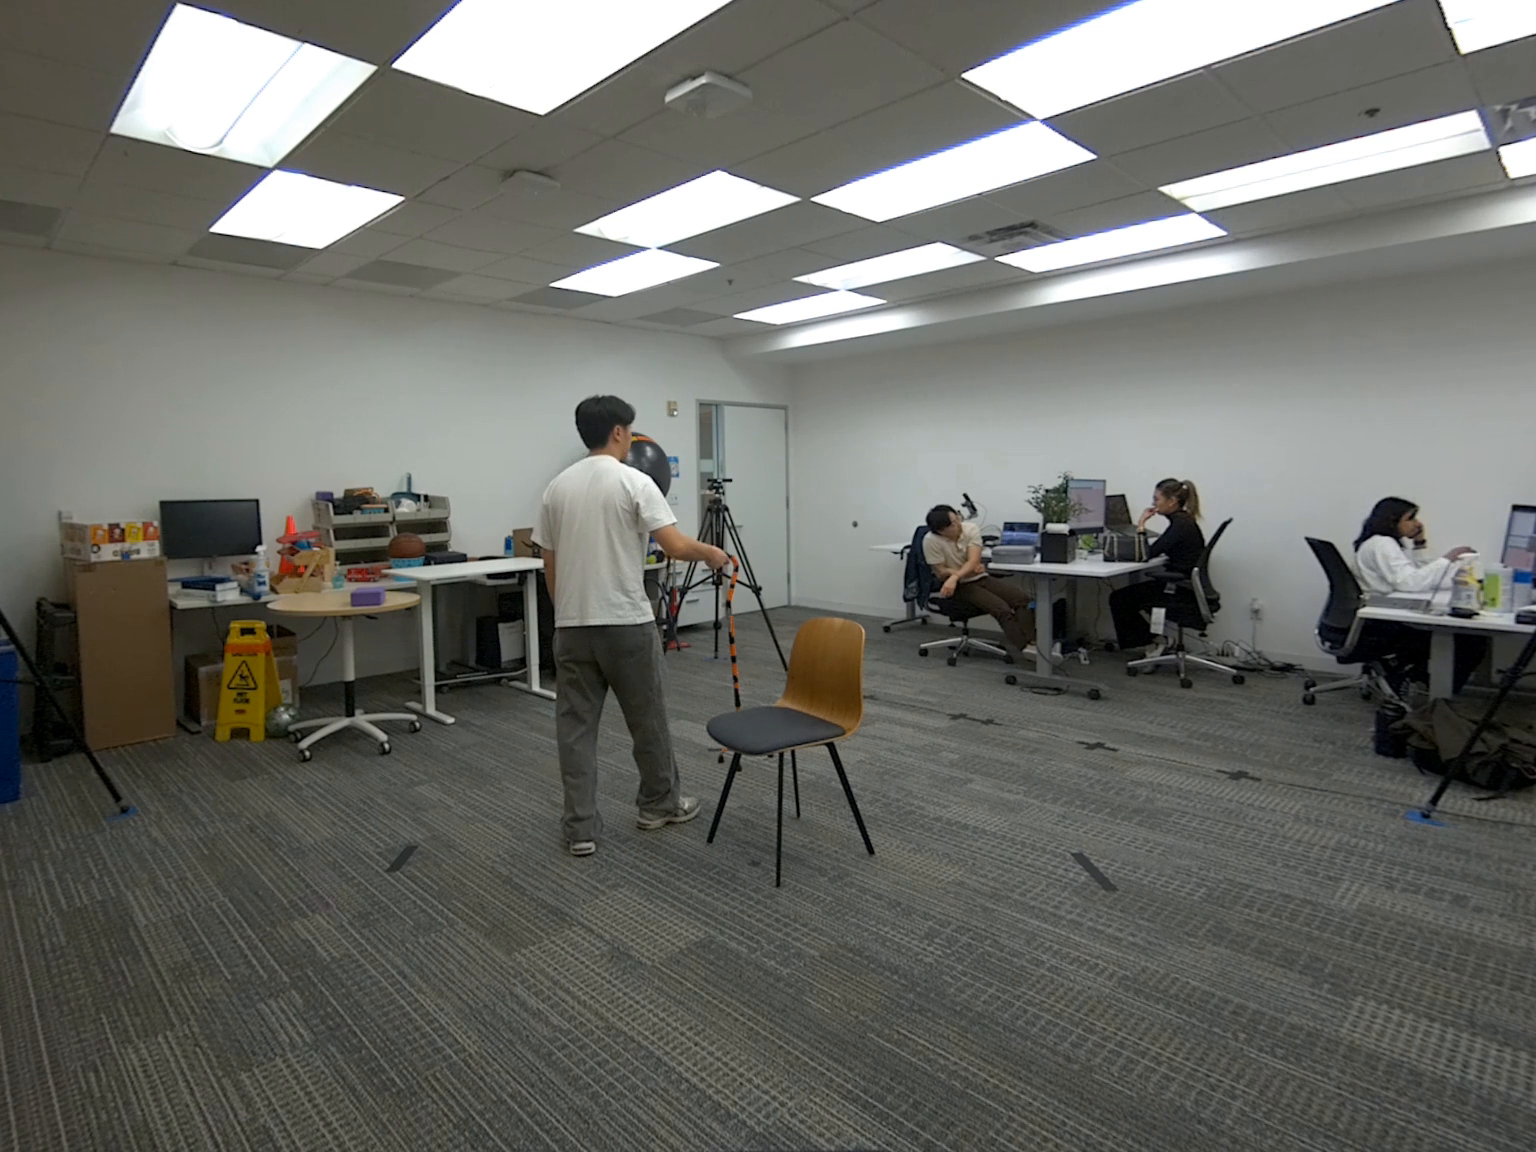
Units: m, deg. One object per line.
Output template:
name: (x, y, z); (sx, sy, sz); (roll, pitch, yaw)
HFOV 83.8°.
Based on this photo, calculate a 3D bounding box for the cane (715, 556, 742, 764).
cane: (-0.140, 0.370, 3.616); (0.156, 0.899, 0.202); (5, 13, 44)
